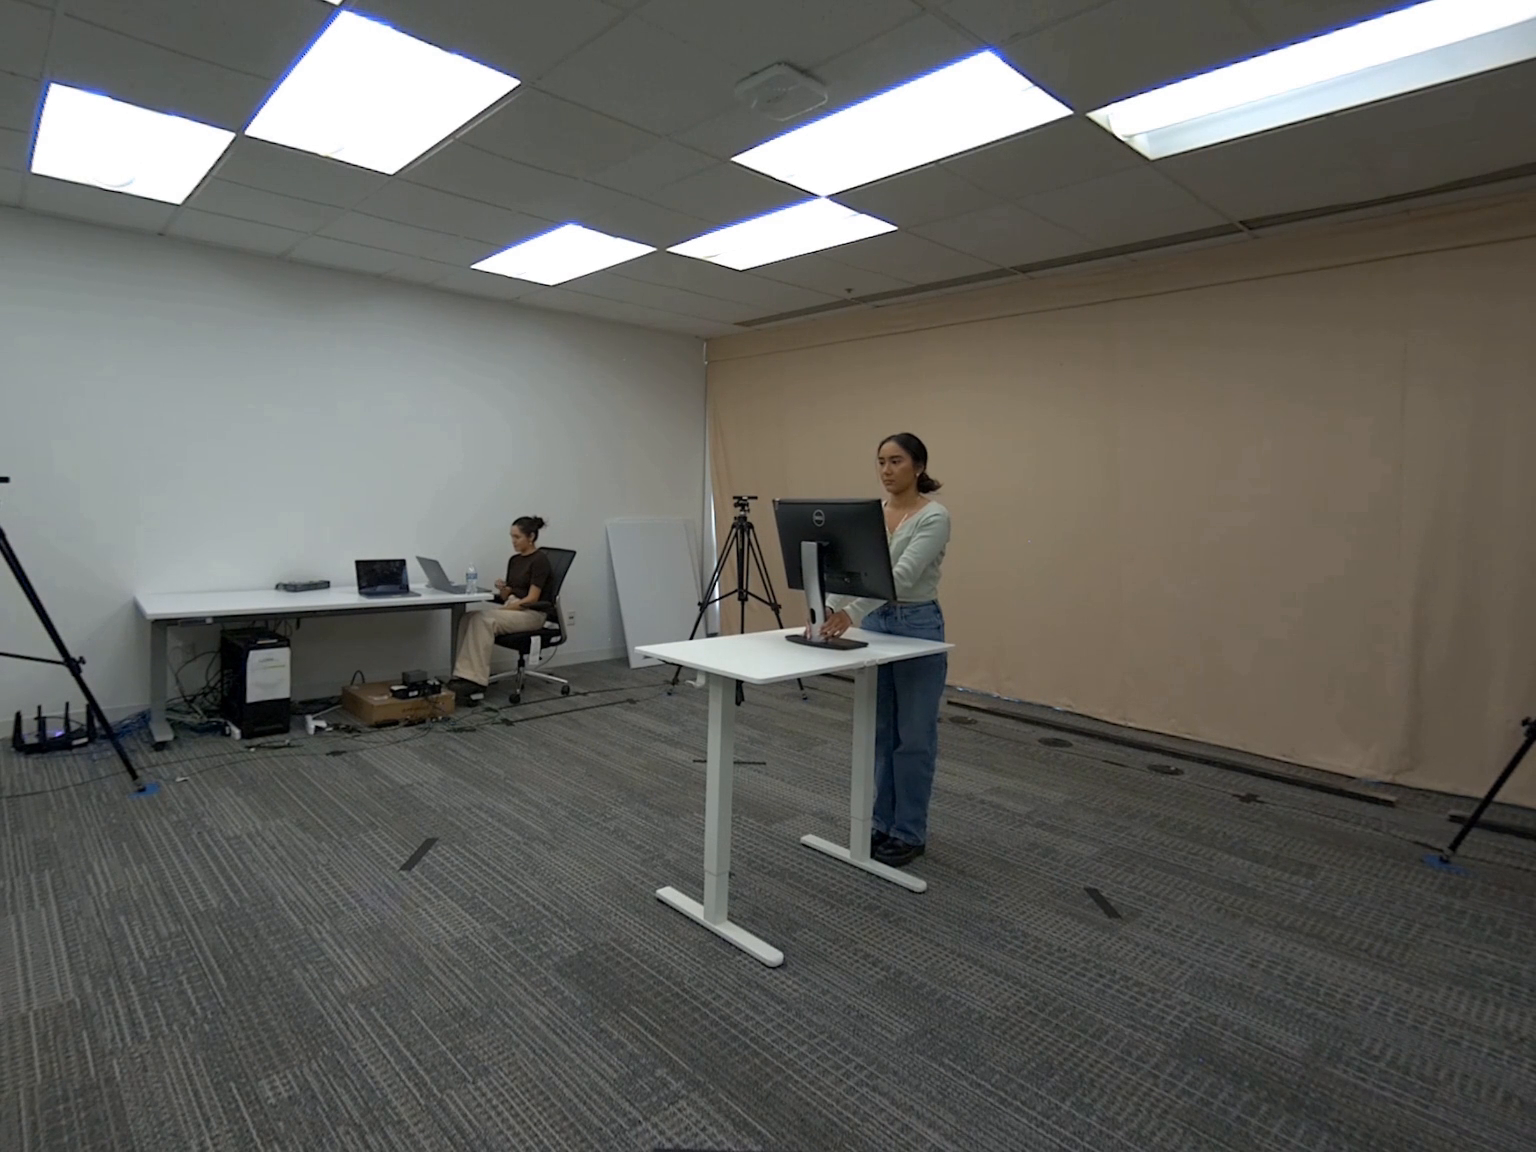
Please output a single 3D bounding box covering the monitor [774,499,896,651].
[{"bbox_3d":[0.193,-0.010,2.960,0.183,0.521,0.553,-3,5,-41],"label":"monitor"}]
